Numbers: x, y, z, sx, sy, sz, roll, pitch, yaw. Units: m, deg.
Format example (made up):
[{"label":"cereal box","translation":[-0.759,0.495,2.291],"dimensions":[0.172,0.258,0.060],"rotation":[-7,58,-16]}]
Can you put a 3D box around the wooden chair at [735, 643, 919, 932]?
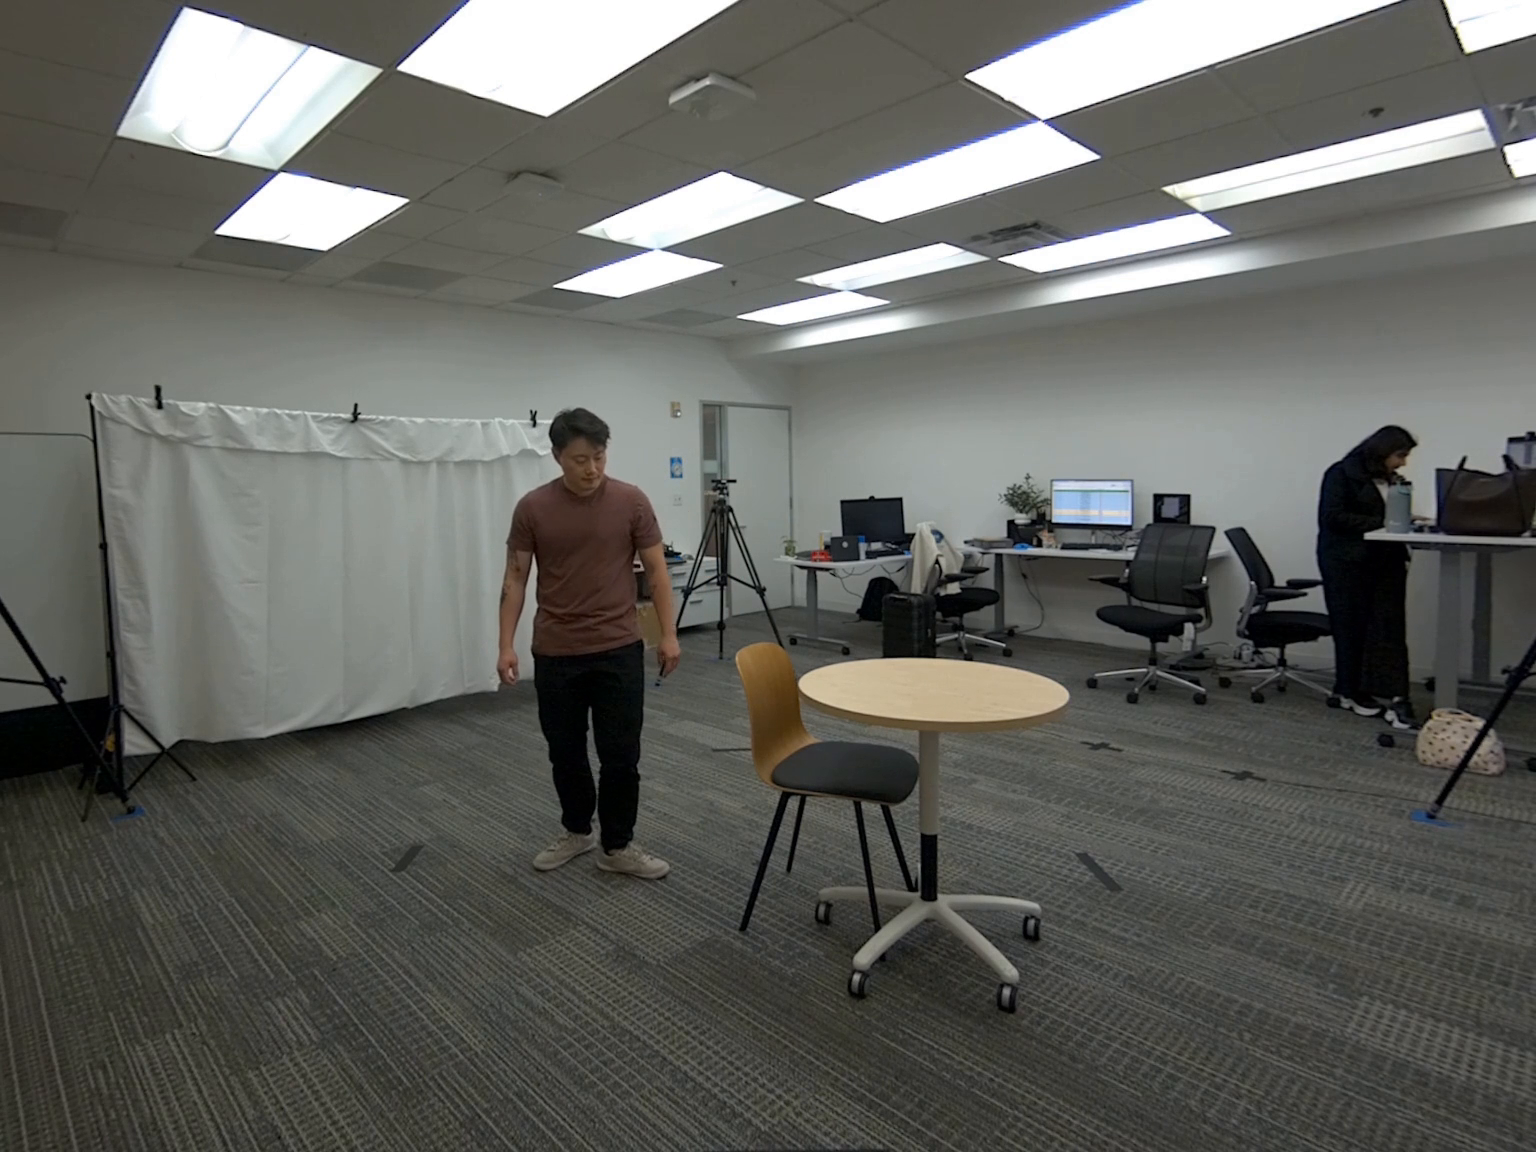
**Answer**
[{"label":"wooden chair","translation":[0.198,0.661,2.729],"dimensions":[0.534,0.876,0.469],"rotation":[-3,2,23]}]
